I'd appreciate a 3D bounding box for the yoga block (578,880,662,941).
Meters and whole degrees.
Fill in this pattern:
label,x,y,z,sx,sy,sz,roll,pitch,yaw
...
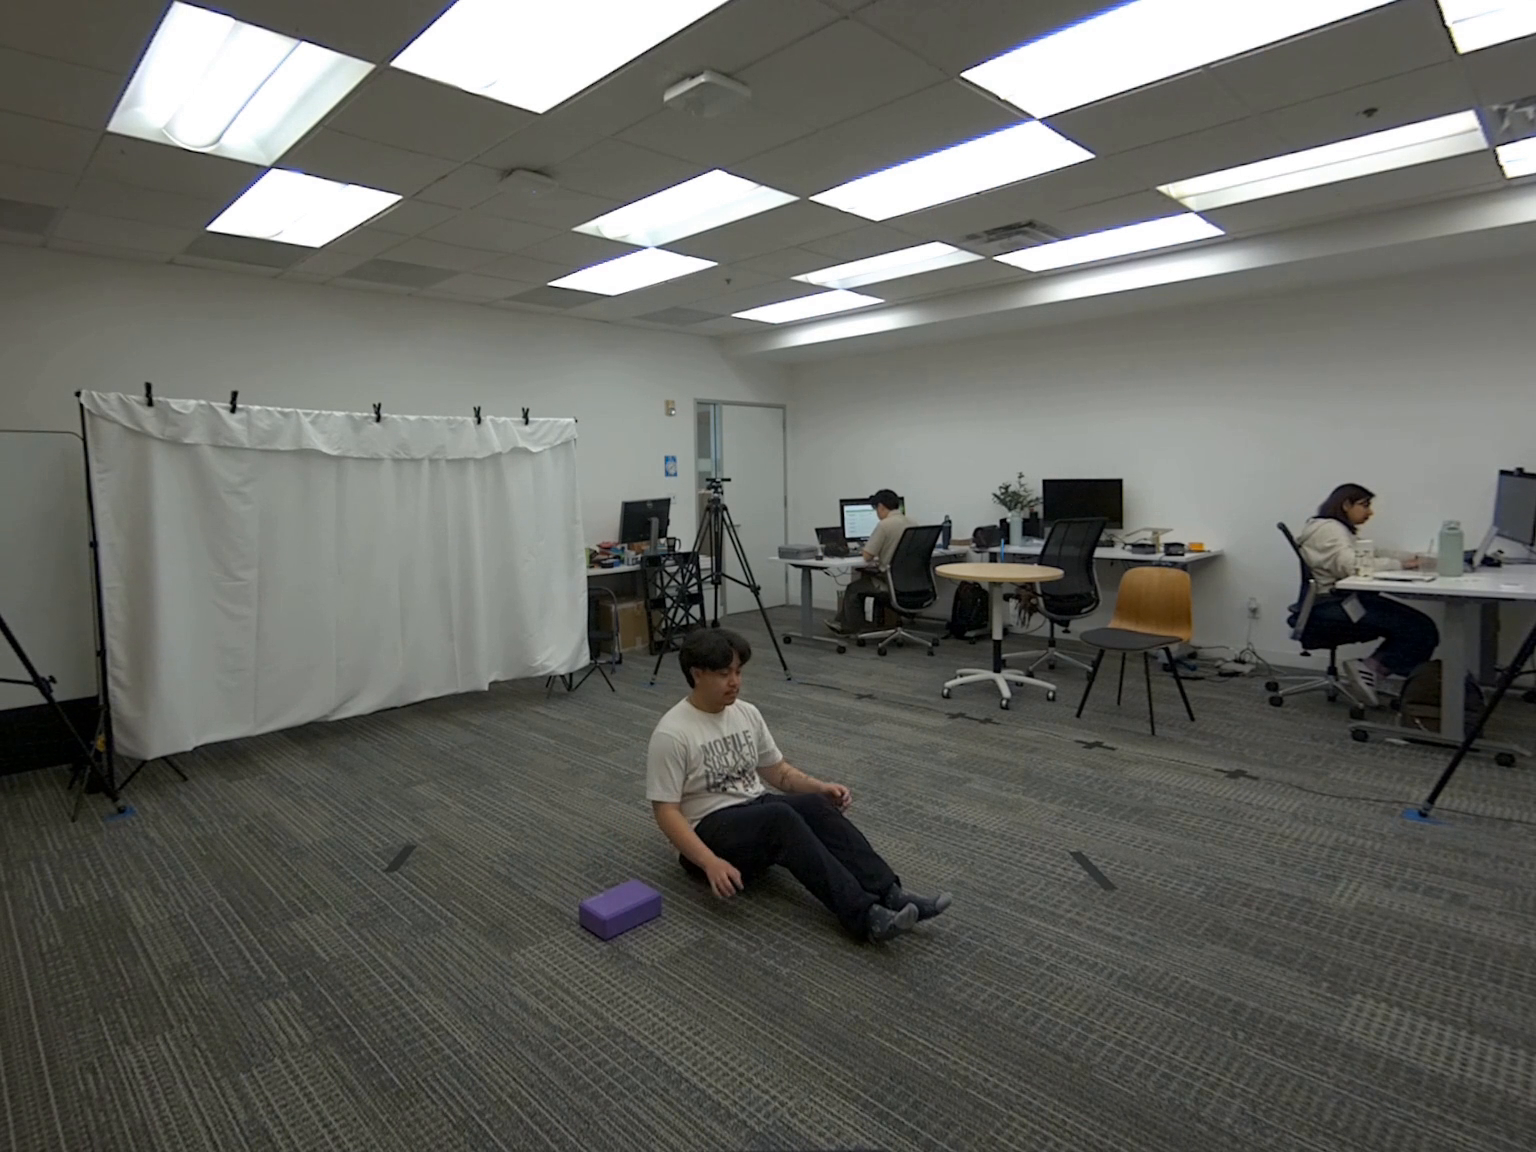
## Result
label,x,y,z,sx,sy,sz,roll,pitch,yaw
yoga block,-0.462,1.055,2.716,0.154,0.076,0.223,6,10,43
